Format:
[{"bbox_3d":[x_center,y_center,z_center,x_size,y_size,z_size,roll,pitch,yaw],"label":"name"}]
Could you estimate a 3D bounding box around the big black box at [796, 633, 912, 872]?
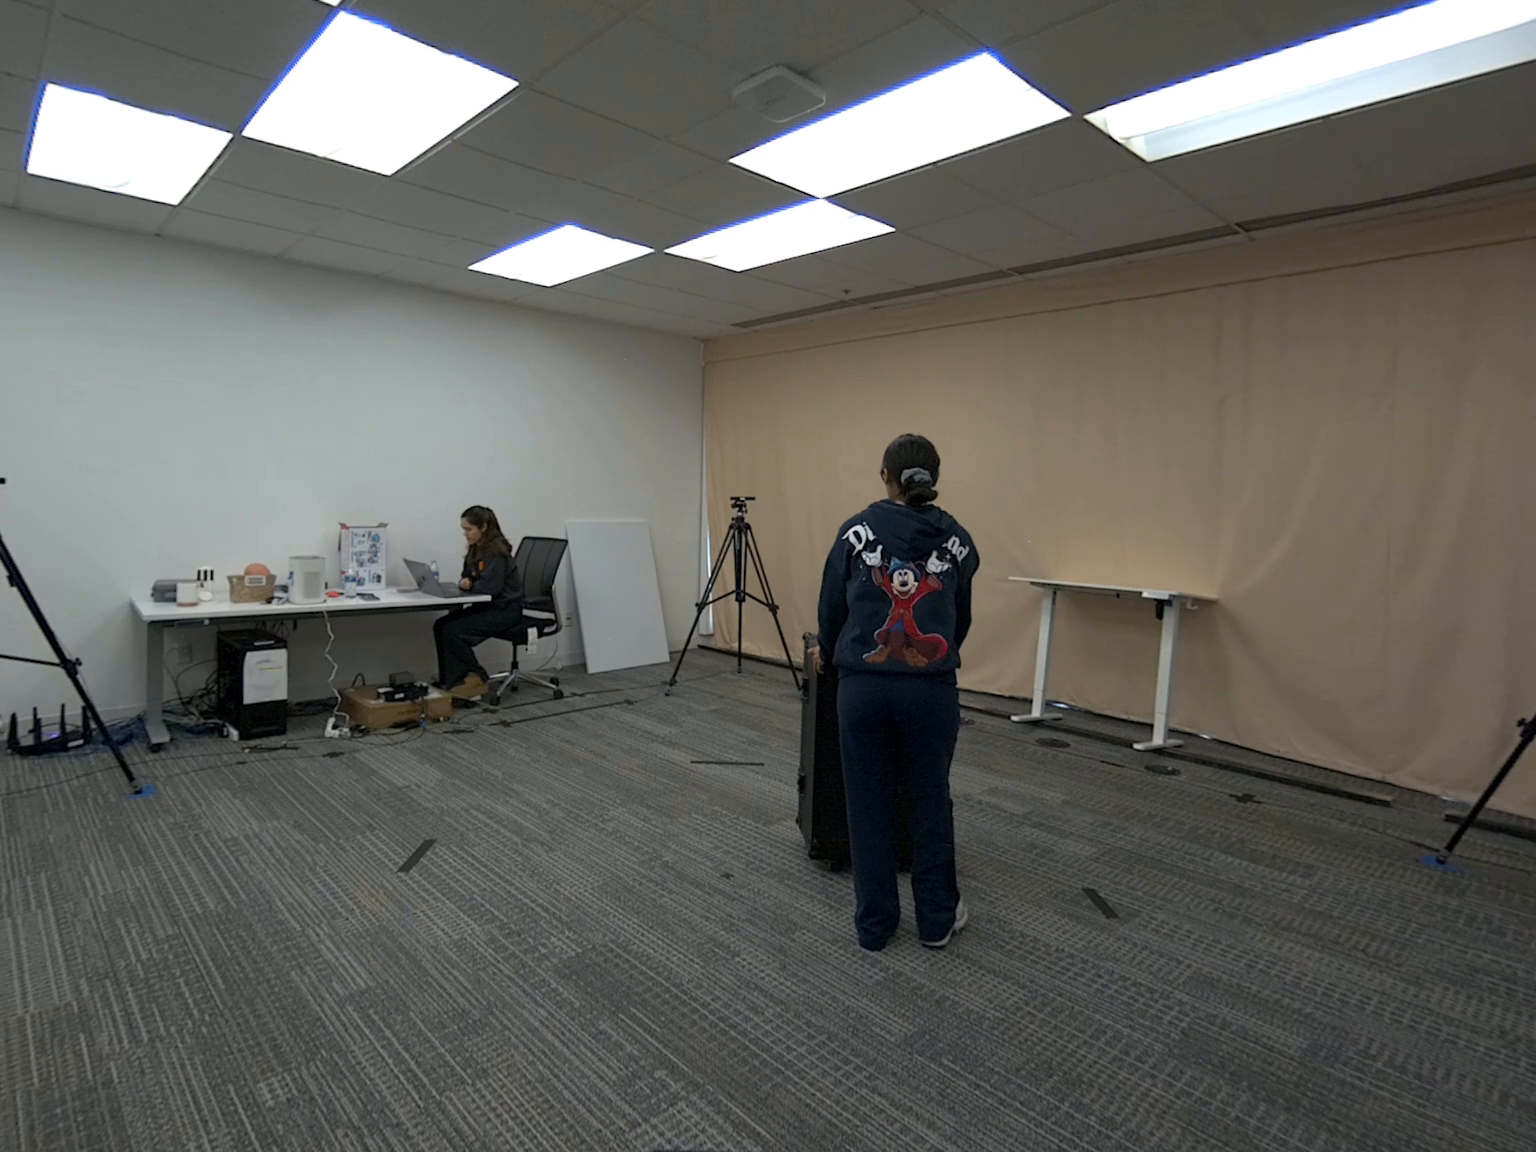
[{"bbox_3d":[0.388,0.682,3.255,0.519,0.858,0.399,2,5,-4],"label":"big black box"}]
